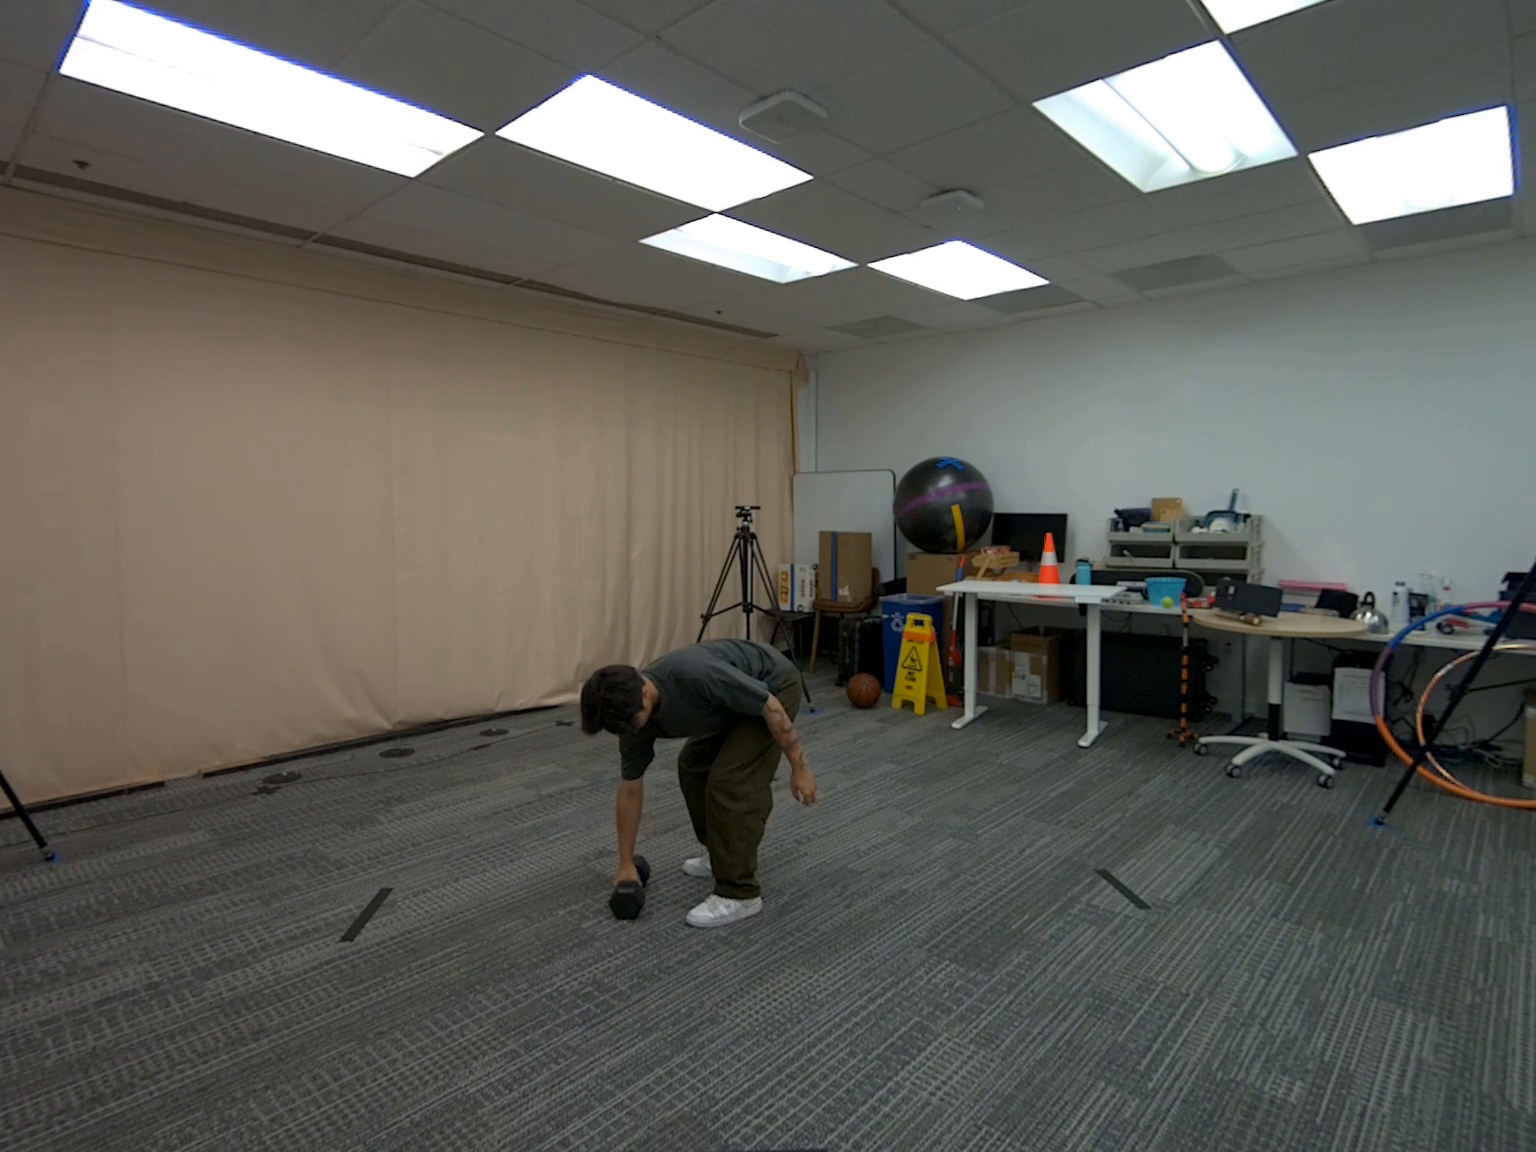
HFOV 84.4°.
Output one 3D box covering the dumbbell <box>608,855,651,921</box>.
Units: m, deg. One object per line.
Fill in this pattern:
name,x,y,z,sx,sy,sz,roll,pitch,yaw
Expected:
dumbbell,-0.486,1.096,2.971,0.109,0.122,0.295,-31,6,-1
